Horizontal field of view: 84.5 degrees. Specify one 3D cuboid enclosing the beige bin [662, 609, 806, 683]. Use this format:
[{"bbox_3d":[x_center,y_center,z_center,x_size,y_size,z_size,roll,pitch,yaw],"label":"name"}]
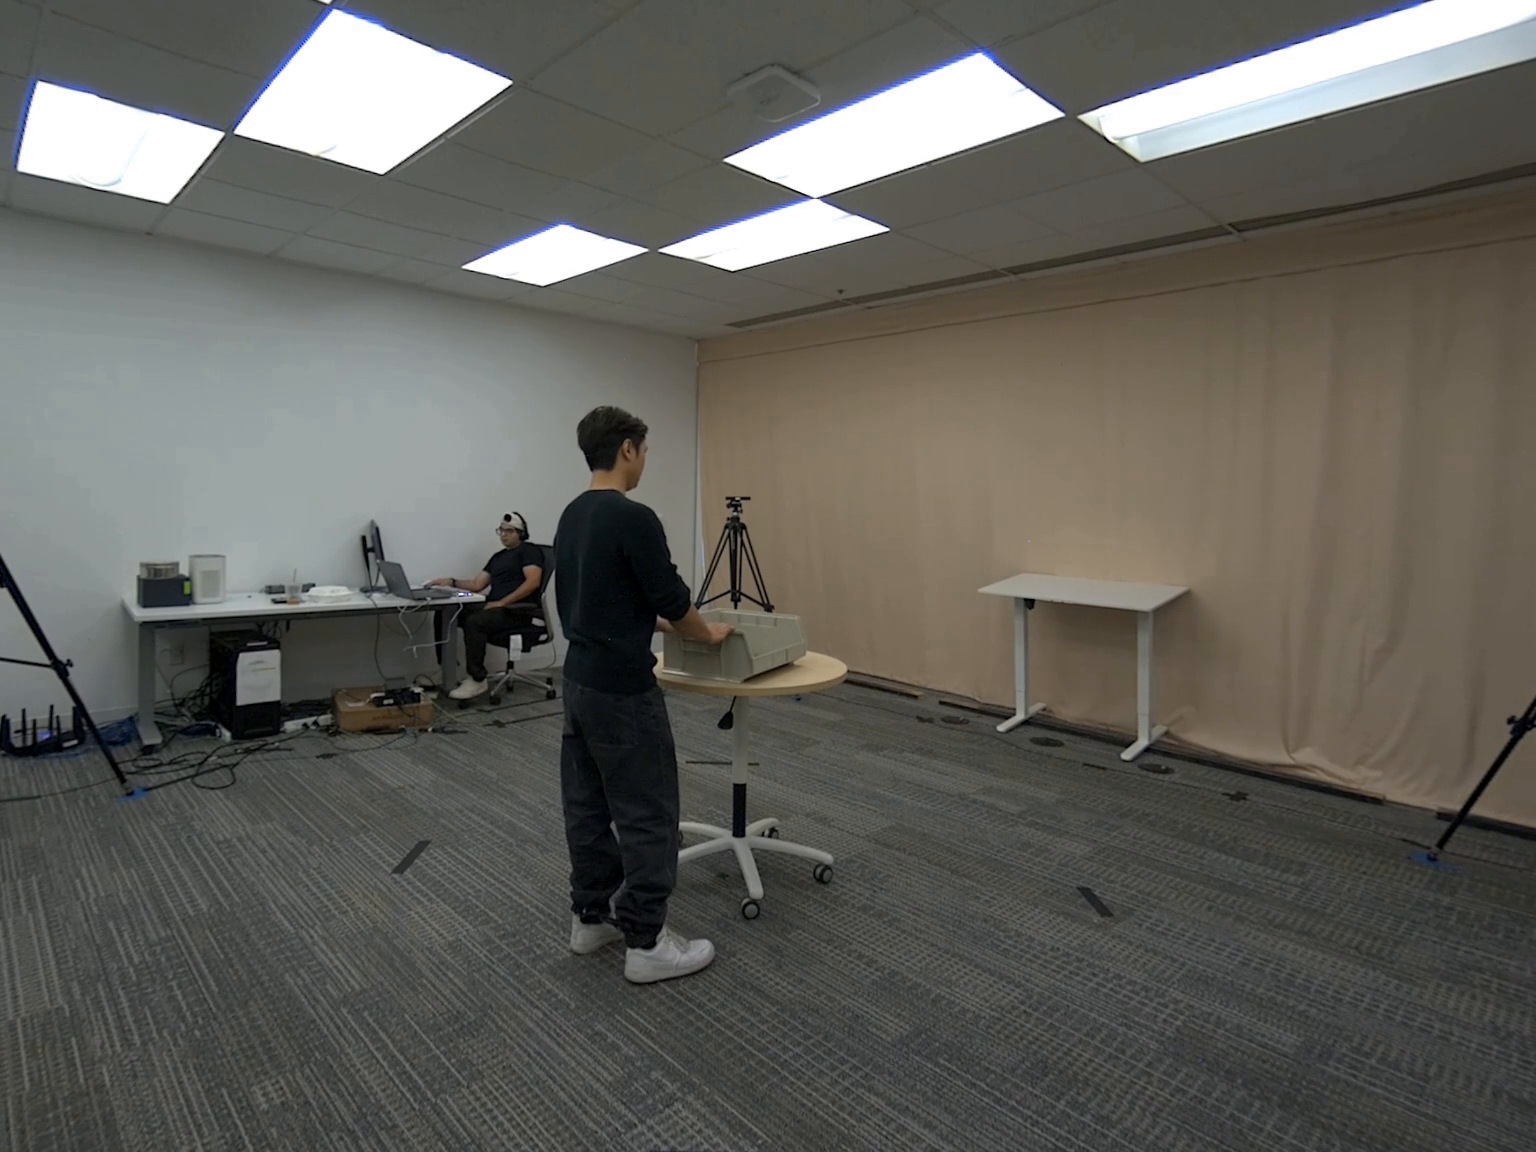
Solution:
[{"bbox_3d":[-0.124,0.244,3.000,0.385,0.188,0.415,2,5,28],"label":"beige bin"}]
